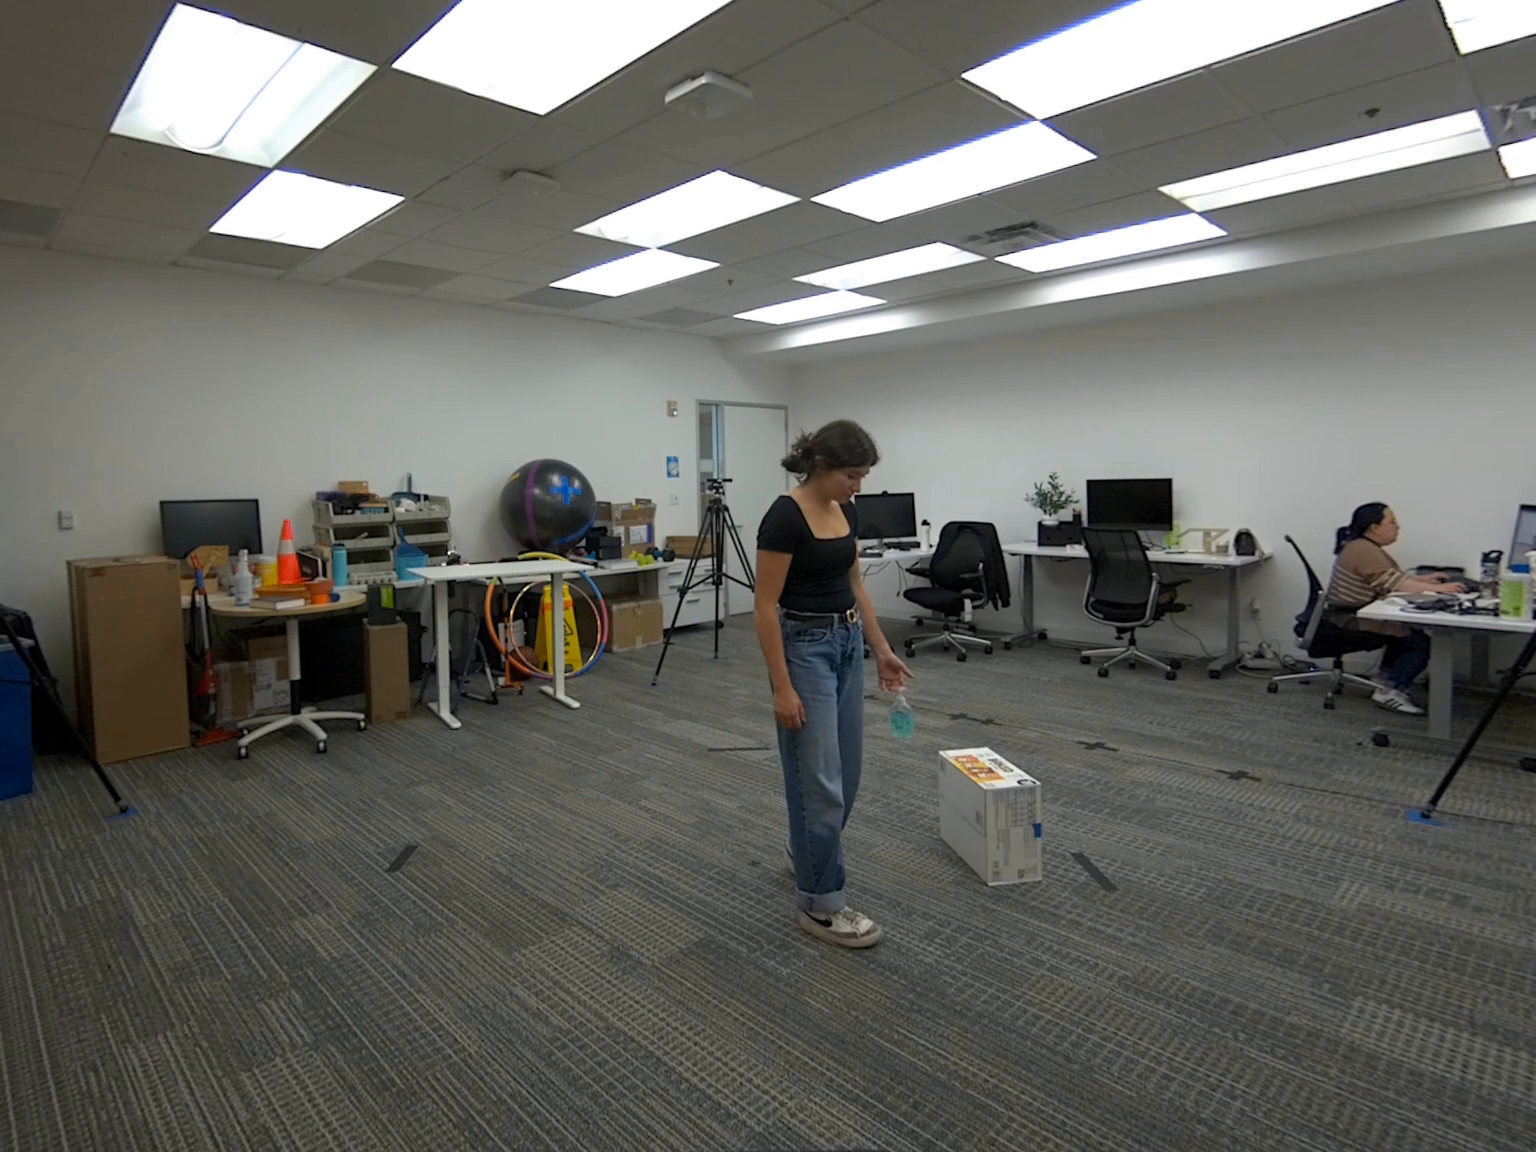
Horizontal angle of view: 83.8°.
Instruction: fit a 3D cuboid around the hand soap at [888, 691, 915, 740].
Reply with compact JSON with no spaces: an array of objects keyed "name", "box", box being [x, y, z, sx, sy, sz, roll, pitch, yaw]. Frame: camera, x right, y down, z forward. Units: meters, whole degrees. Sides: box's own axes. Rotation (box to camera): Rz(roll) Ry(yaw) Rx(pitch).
[{"name":"hand soap","box":[0.434,0.447,2.784,0.085,0.167,0.043,-2,8,12]}]
